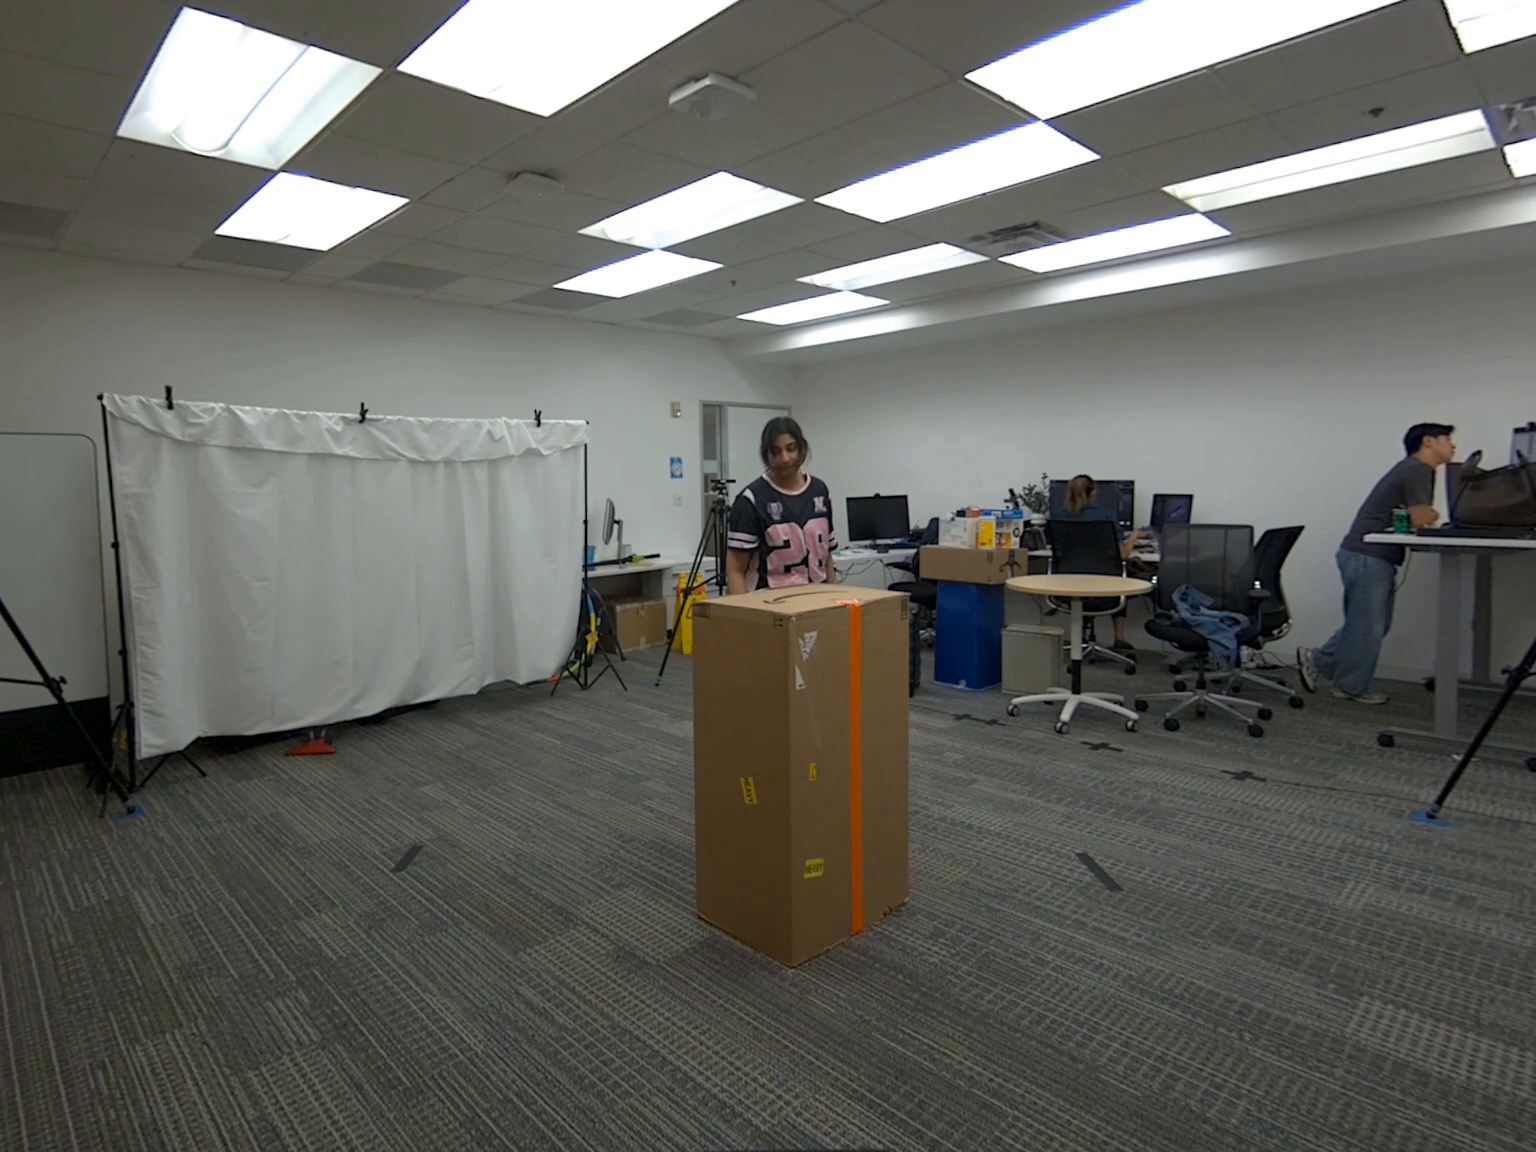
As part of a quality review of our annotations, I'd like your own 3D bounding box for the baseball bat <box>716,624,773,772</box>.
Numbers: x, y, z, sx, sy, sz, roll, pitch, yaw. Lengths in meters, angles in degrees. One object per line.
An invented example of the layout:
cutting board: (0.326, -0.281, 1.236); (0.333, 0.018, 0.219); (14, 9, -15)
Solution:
baseball bat: (-0.088, 0.453, 3.258); (0.090, 0.552, 0.087); (11, -29, 5)
